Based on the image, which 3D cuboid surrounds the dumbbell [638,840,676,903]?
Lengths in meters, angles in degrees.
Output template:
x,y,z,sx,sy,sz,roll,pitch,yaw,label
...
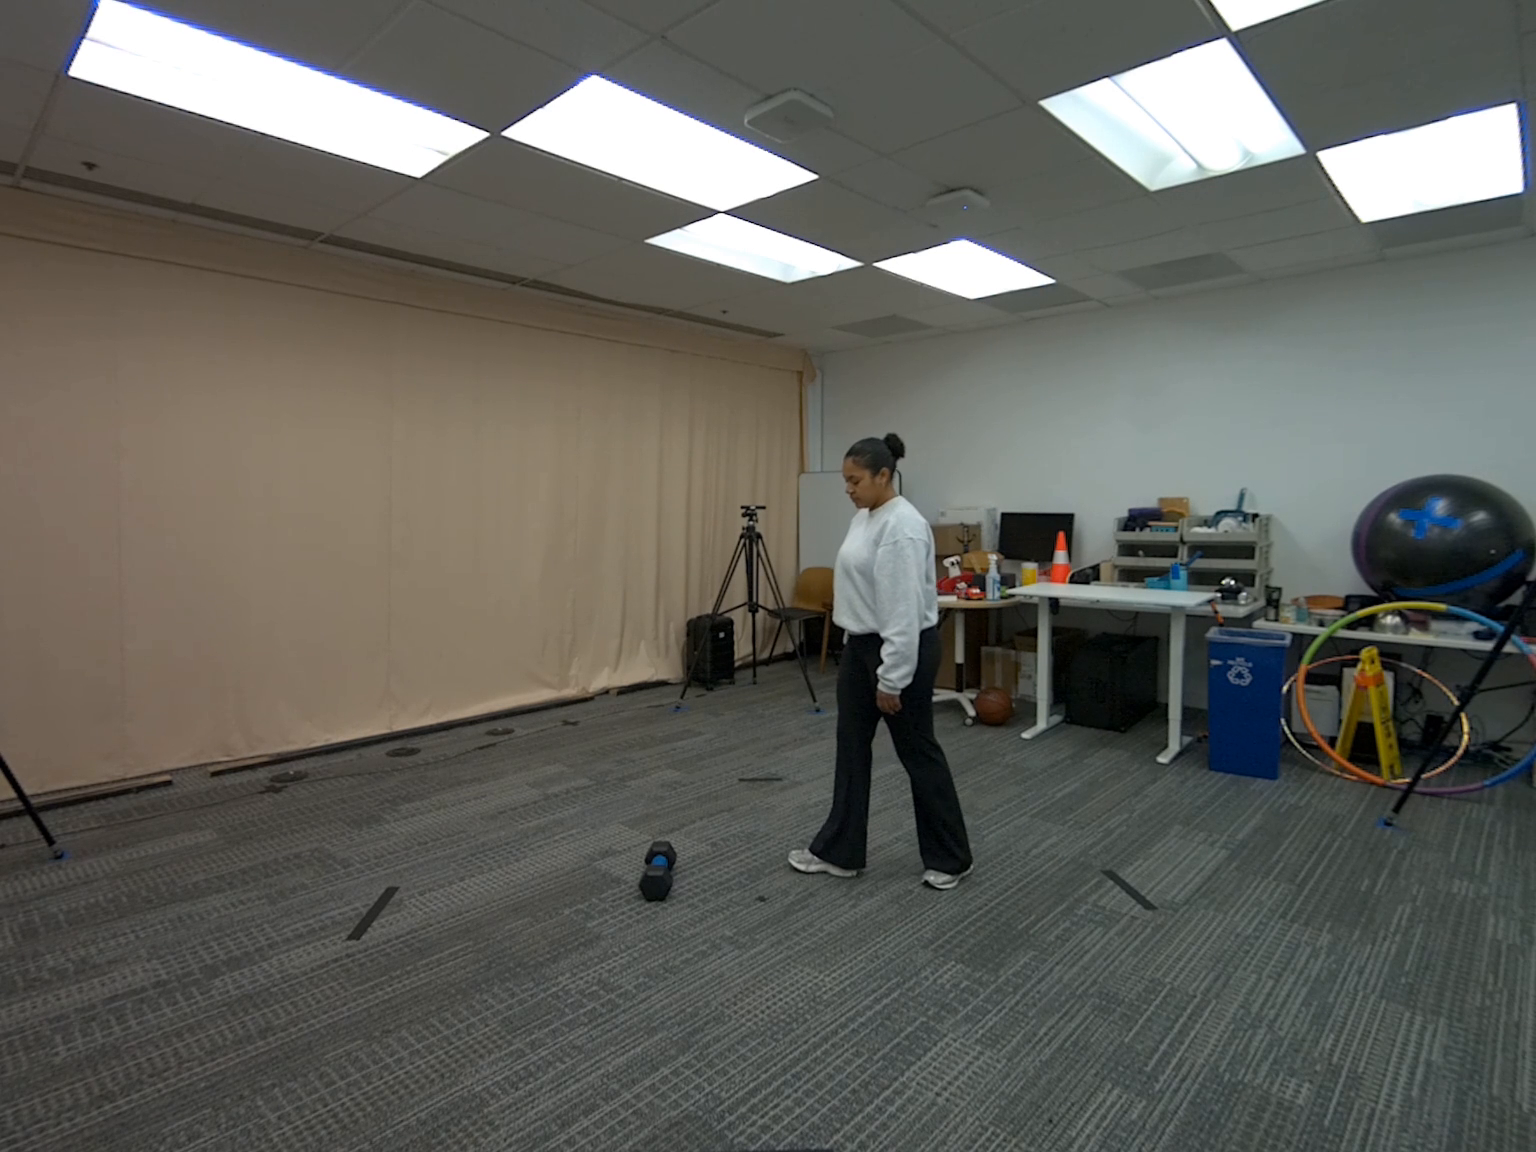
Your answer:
x,y,z,sx,sy,sz,roll,pitch,yaw,label
-0.404,1.084,3.101,0.108,0.123,0.295,30,3,-5,dumbbell
